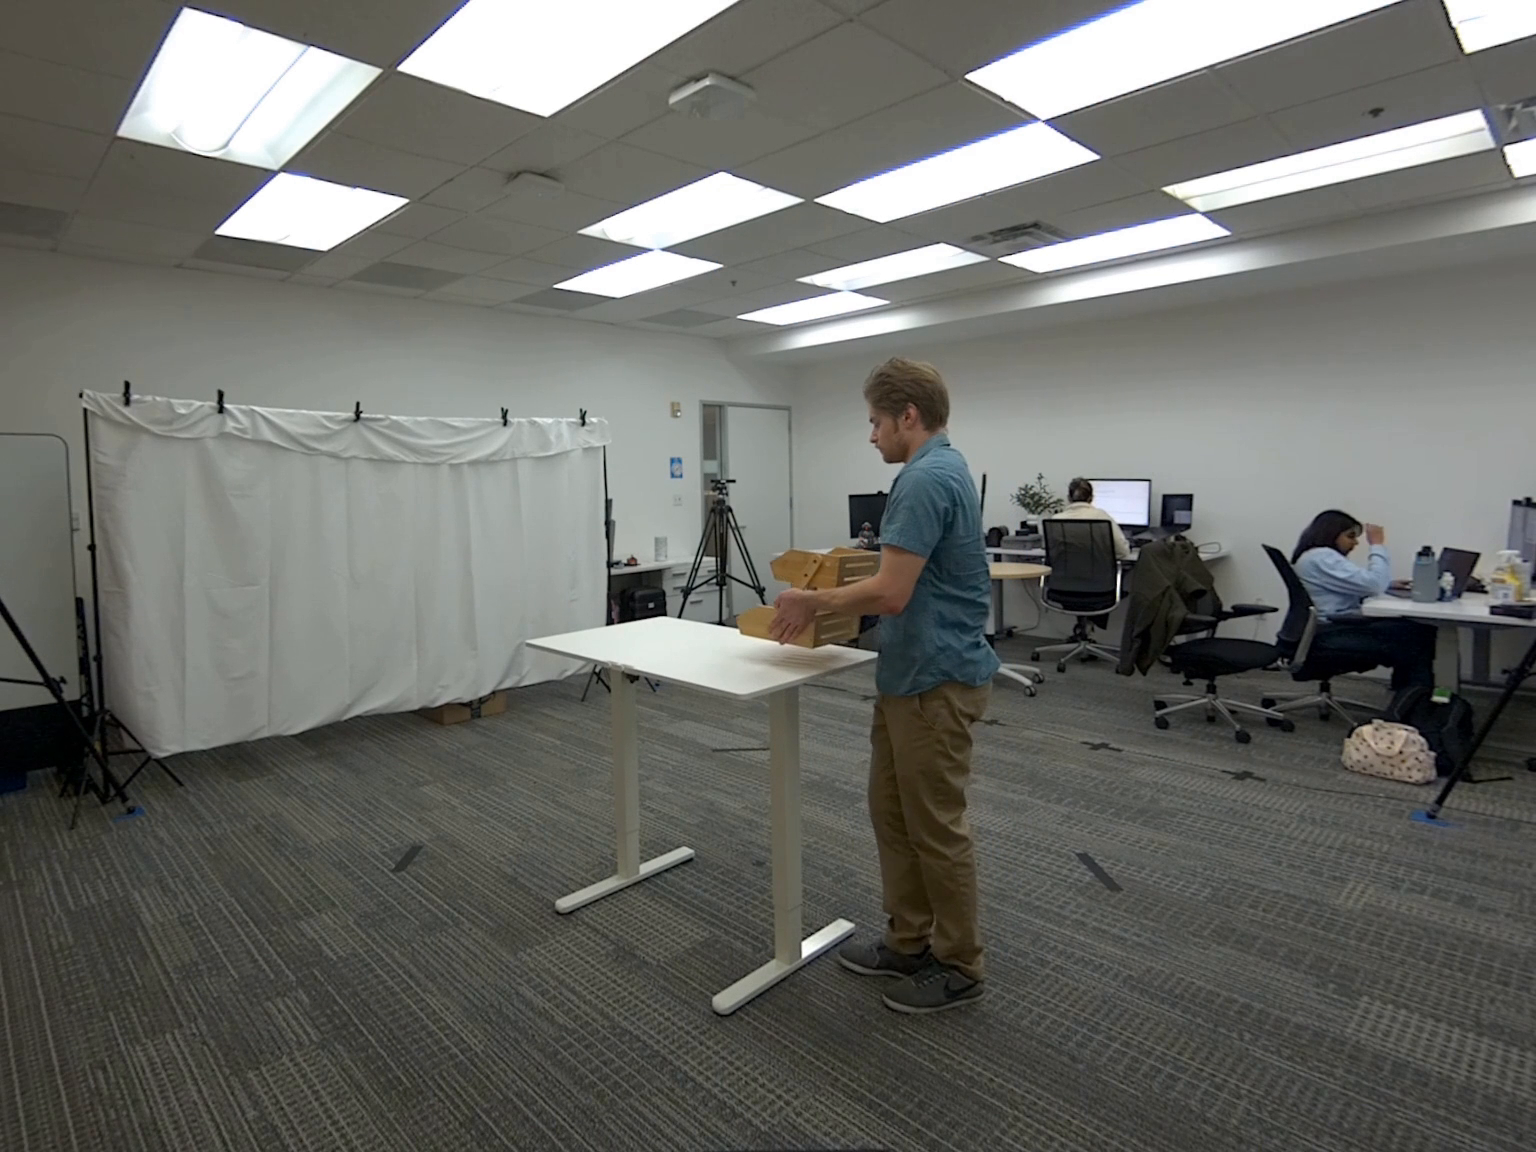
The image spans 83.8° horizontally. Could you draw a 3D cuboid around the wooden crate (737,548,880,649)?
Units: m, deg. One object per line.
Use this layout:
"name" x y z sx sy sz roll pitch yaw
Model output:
"wooden crate" 0.131 0.046 2.459 0.311 0.272 0.316 9 7 32
